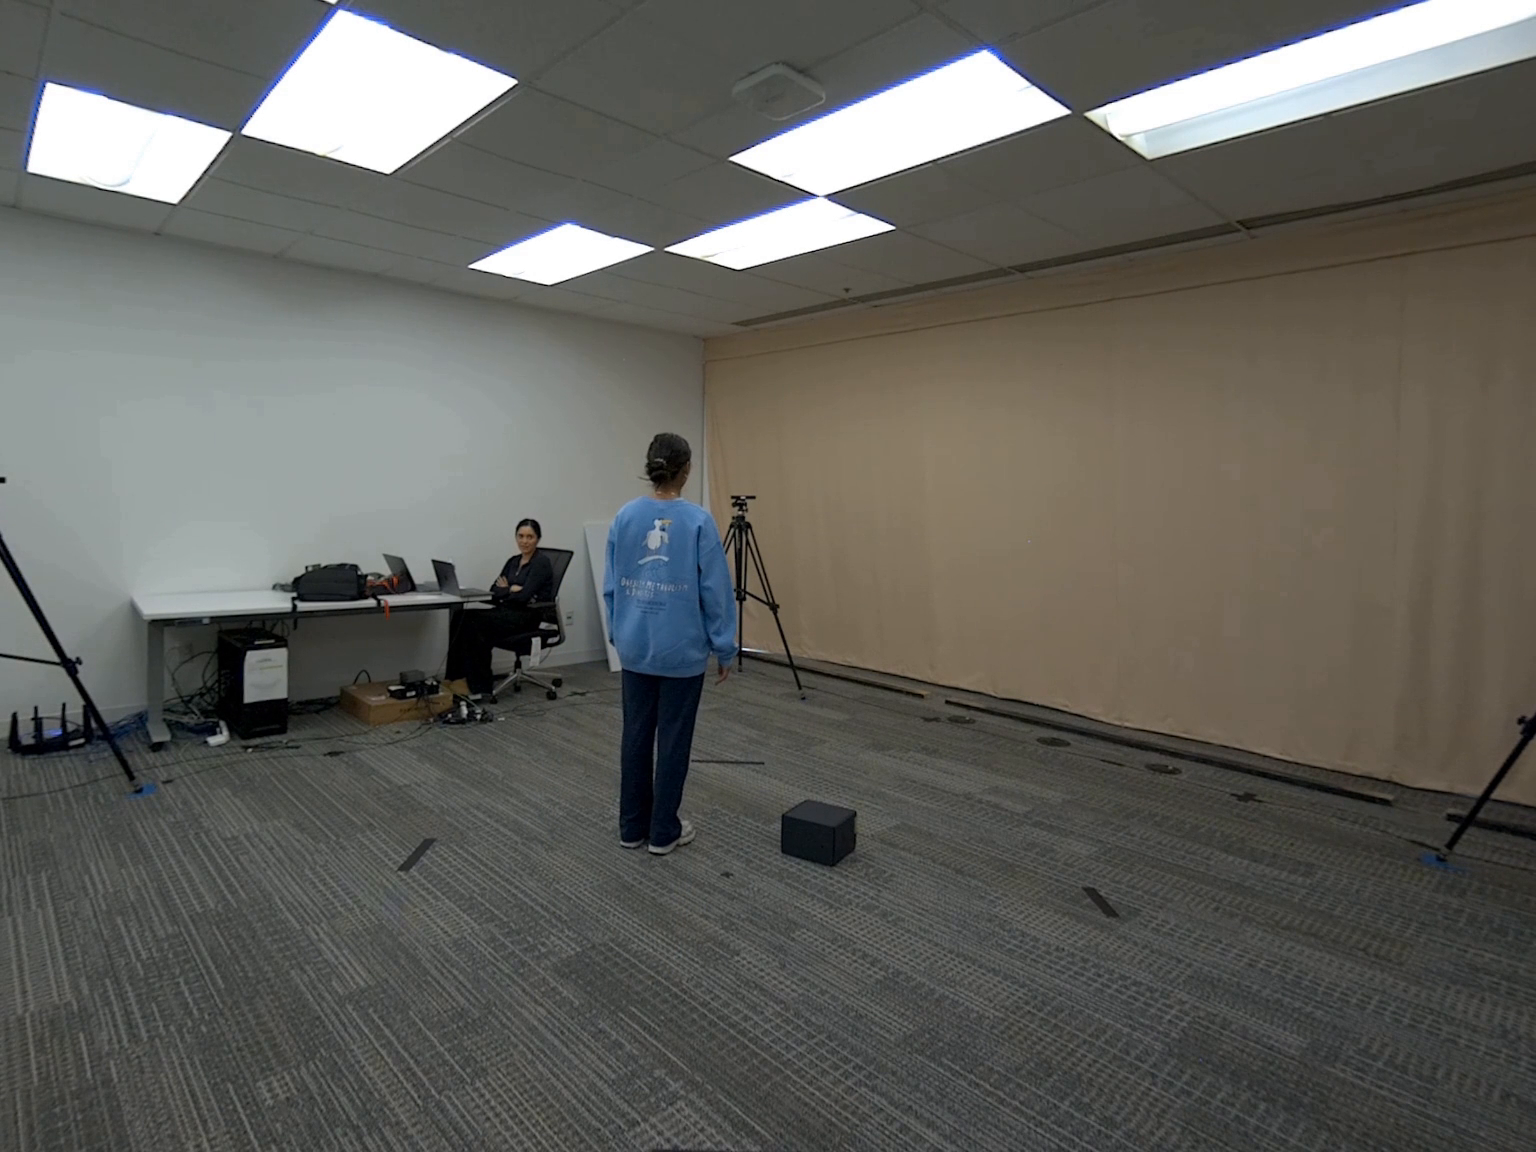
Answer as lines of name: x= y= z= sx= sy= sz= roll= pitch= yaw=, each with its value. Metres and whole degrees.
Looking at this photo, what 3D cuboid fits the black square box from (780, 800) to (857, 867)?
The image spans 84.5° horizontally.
black square box: x=0.195 y=1.006 z=3.324 sx=0.233 sy=0.155 sz=0.213 roll=4 pitch=5 yaw=30
